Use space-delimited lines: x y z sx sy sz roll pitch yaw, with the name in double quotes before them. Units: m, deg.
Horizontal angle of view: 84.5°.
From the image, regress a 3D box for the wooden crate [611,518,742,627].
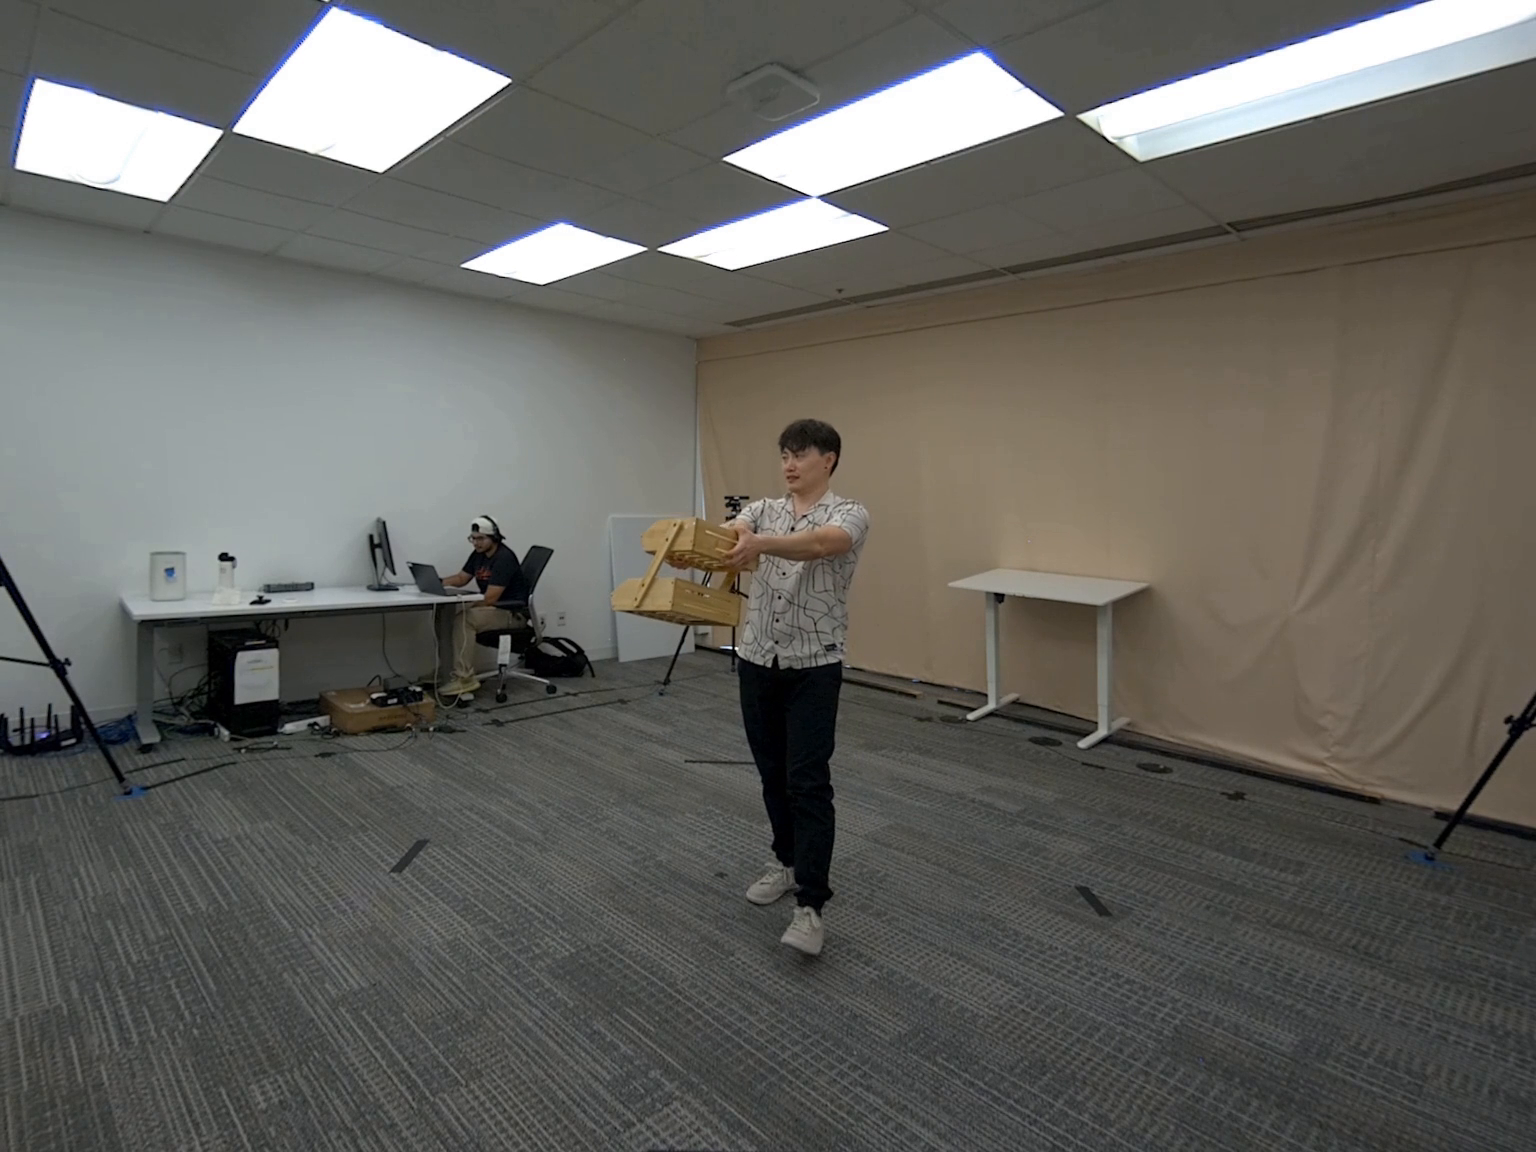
"wooden crate" -0.251 -0.005 2.483 0.309 0.275 0.315 -2 -13 37
